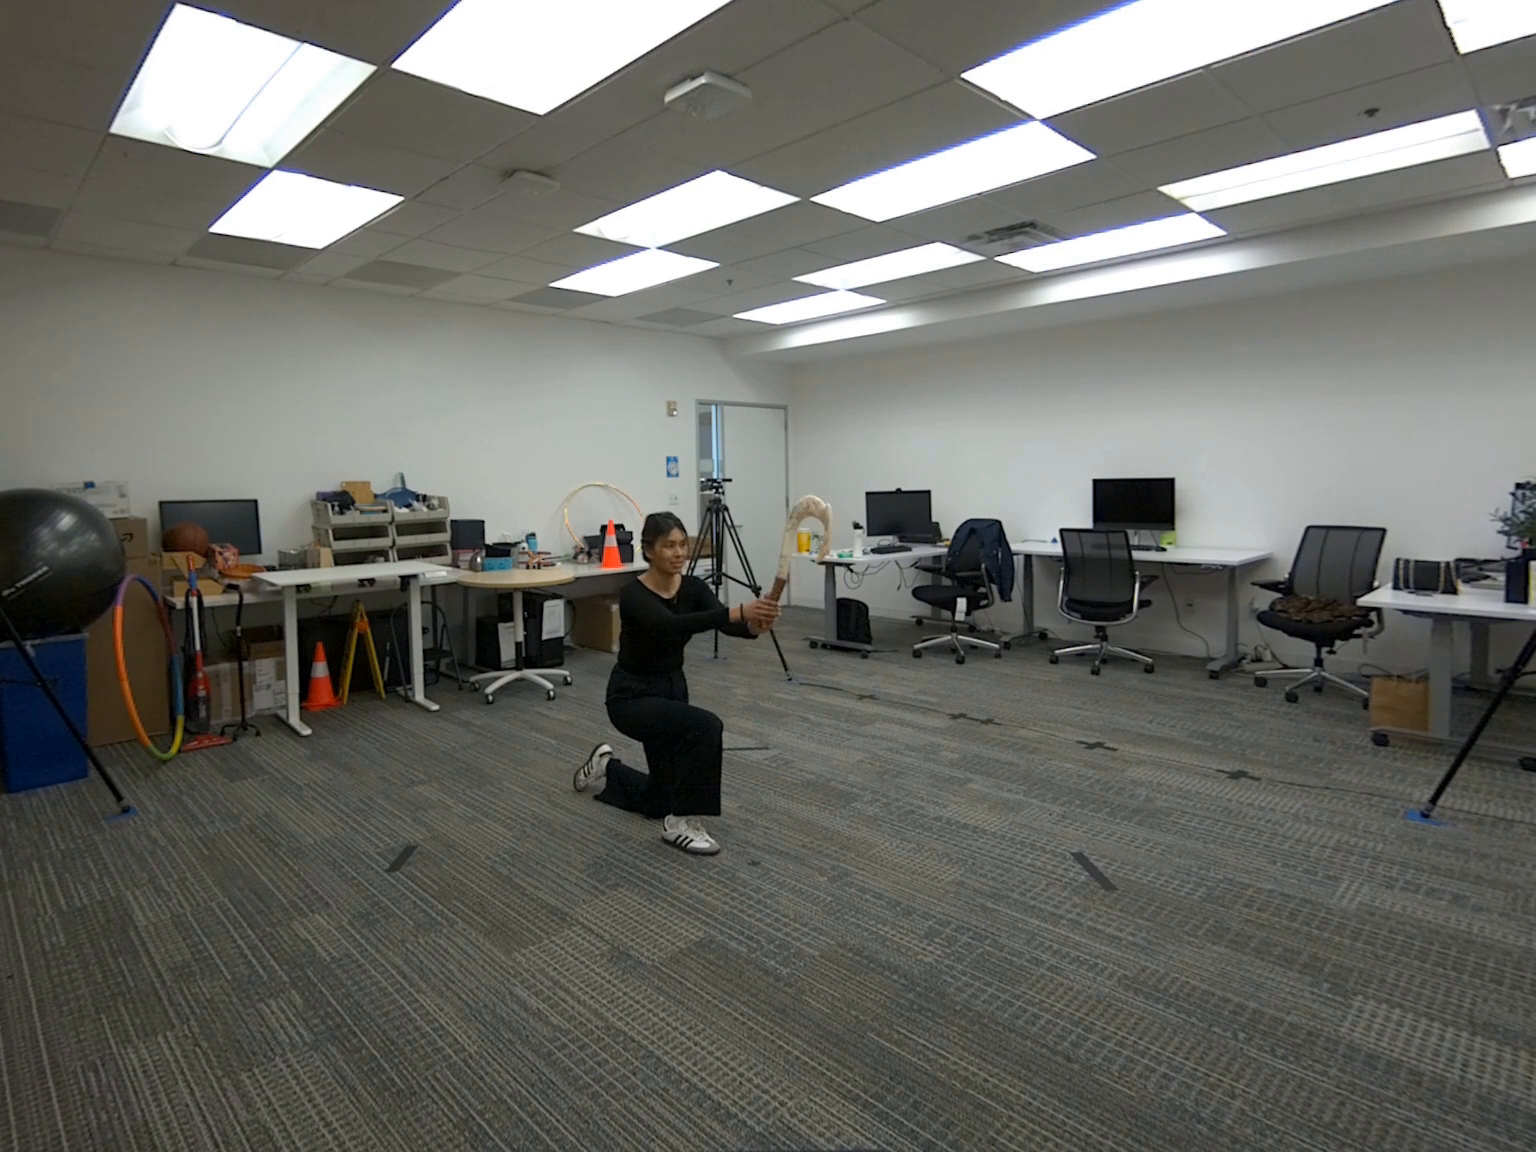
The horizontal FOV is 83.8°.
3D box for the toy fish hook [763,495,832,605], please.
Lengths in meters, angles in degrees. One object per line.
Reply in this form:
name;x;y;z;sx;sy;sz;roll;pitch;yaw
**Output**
toy fish hook;0.092;-0.018;2.934;0.047;0.503;0.233;10;18;-35
